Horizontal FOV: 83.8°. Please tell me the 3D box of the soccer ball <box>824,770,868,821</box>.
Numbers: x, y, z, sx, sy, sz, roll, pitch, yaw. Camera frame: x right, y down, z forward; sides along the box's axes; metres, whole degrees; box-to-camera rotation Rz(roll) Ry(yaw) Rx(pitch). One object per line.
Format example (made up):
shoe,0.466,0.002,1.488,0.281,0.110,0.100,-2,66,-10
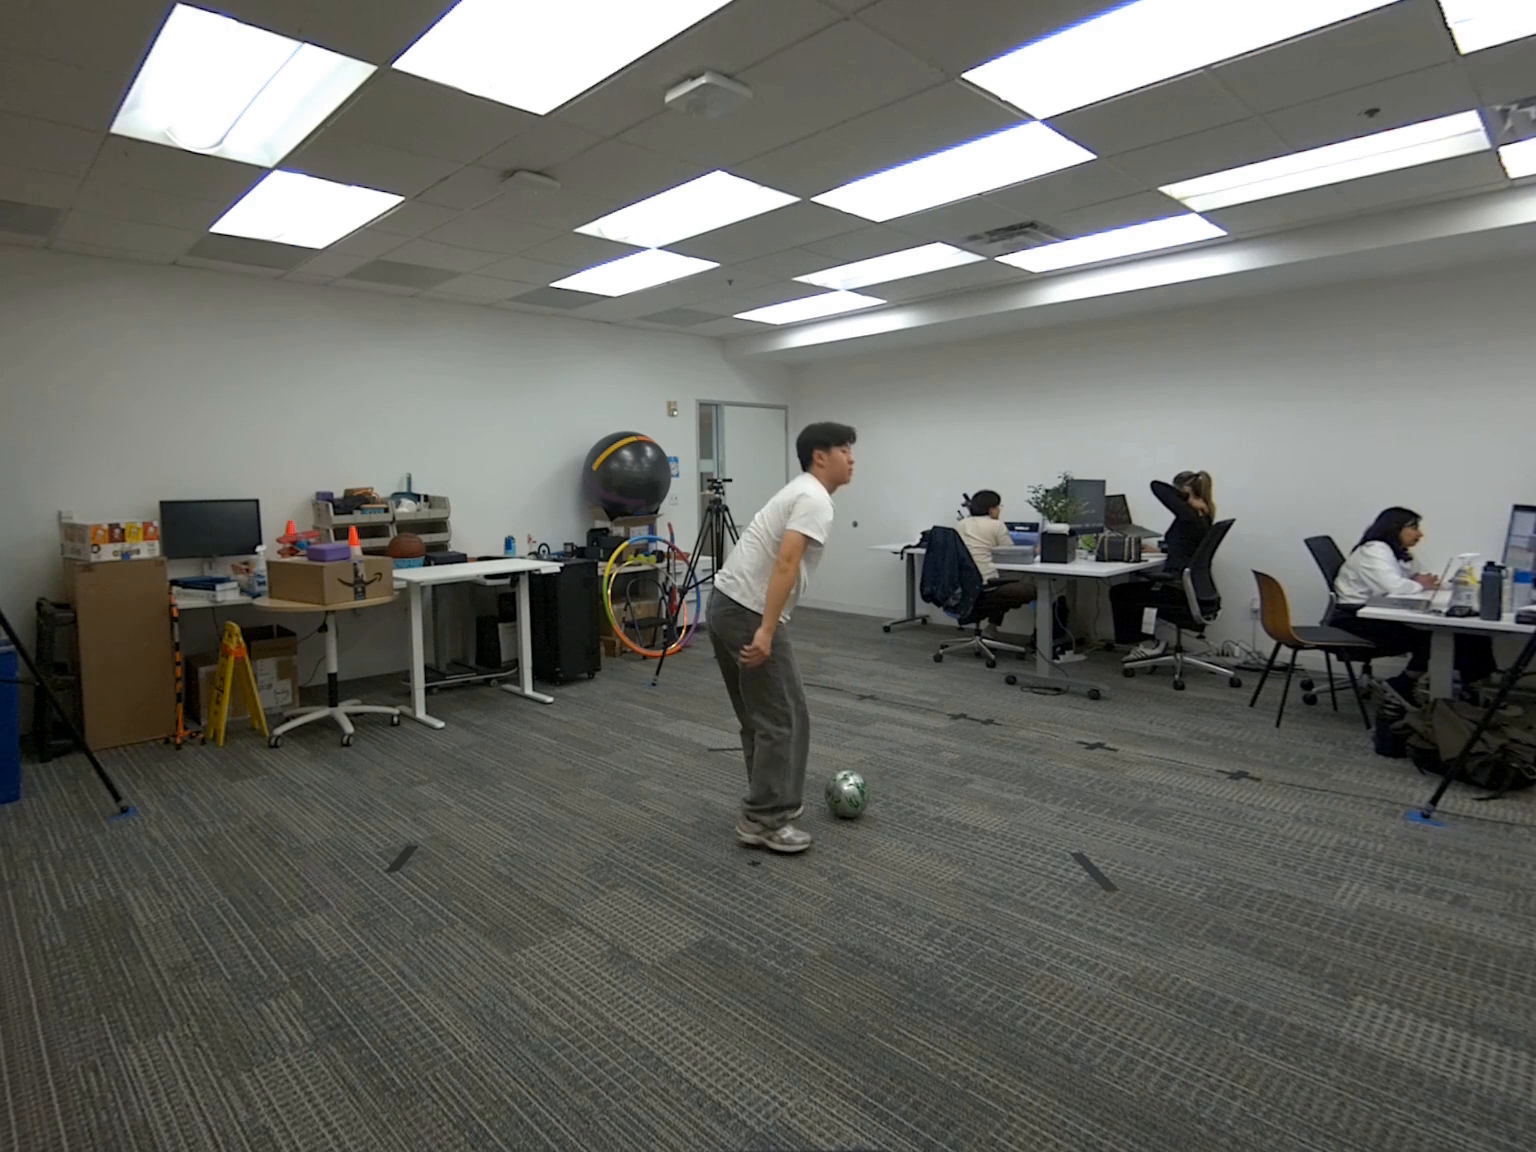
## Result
soccer ball,0.320,0.892,3.511,0.187,0.187,0.188,-1,5,-2
